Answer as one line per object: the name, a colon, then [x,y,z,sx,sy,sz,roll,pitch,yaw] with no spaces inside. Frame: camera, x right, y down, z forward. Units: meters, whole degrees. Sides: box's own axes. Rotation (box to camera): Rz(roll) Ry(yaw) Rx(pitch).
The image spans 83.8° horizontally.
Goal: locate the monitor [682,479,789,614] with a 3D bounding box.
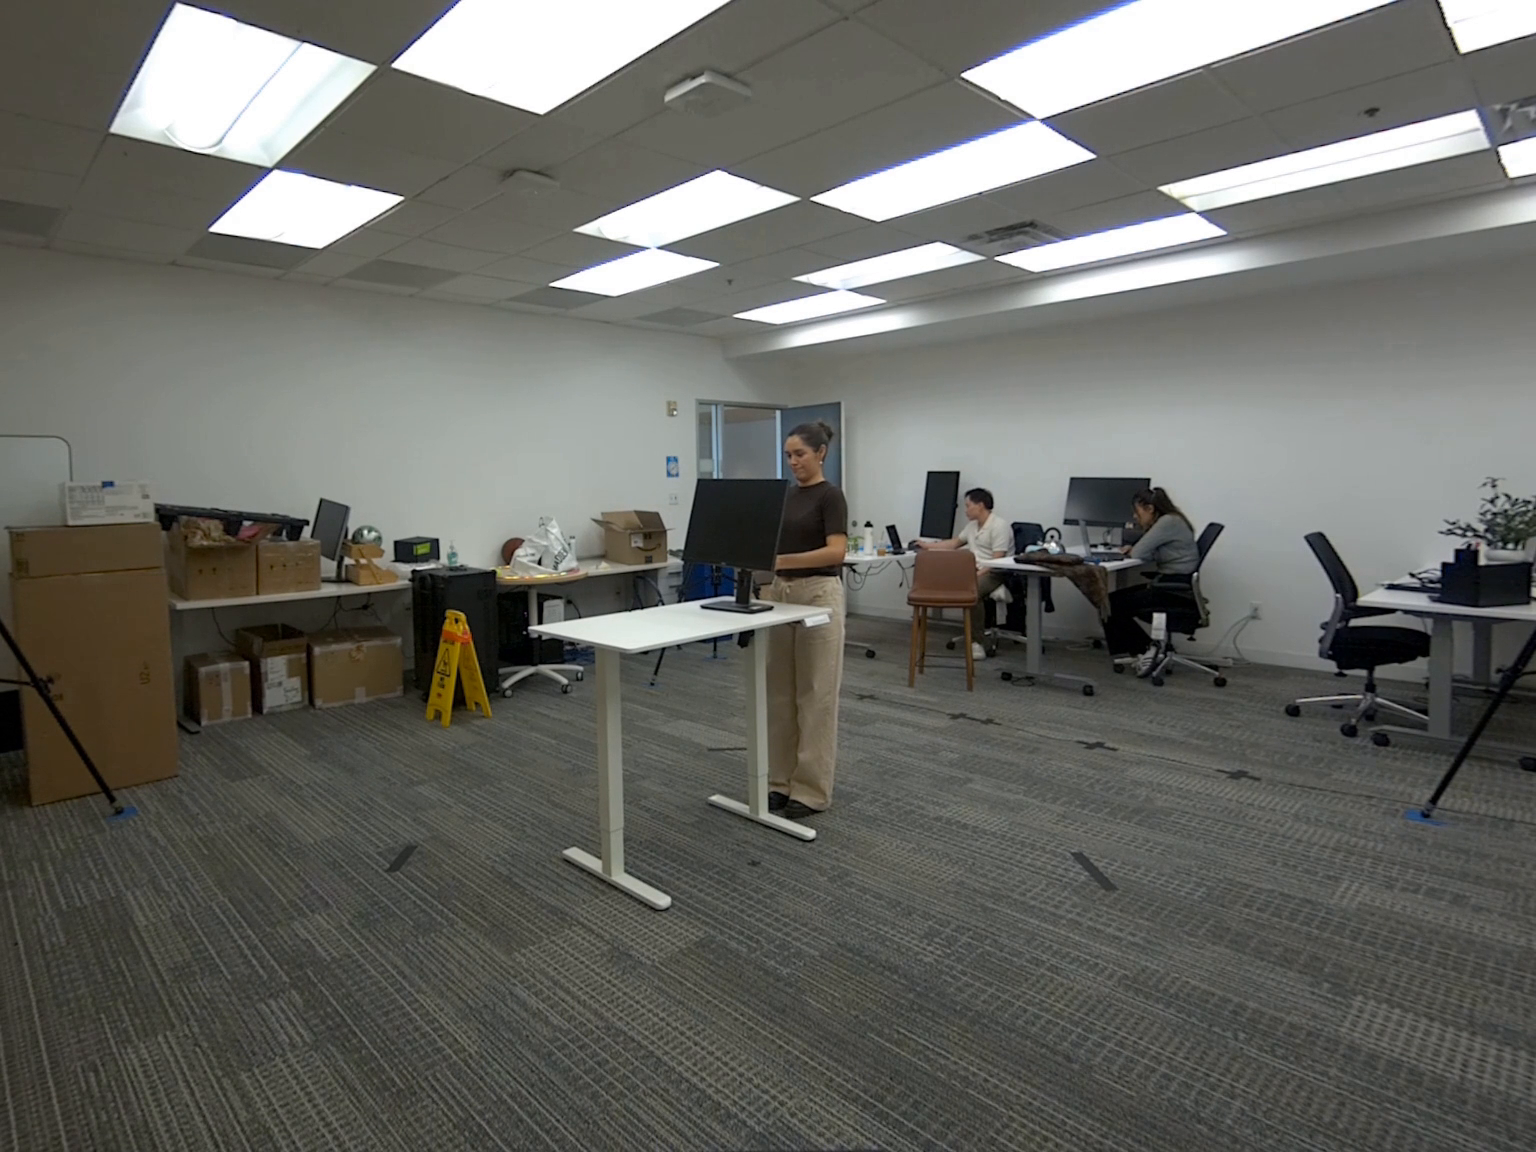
monitor: [-0.116,-0.123,3.380,0.182,0.521,0.556,-3,6,-44]
